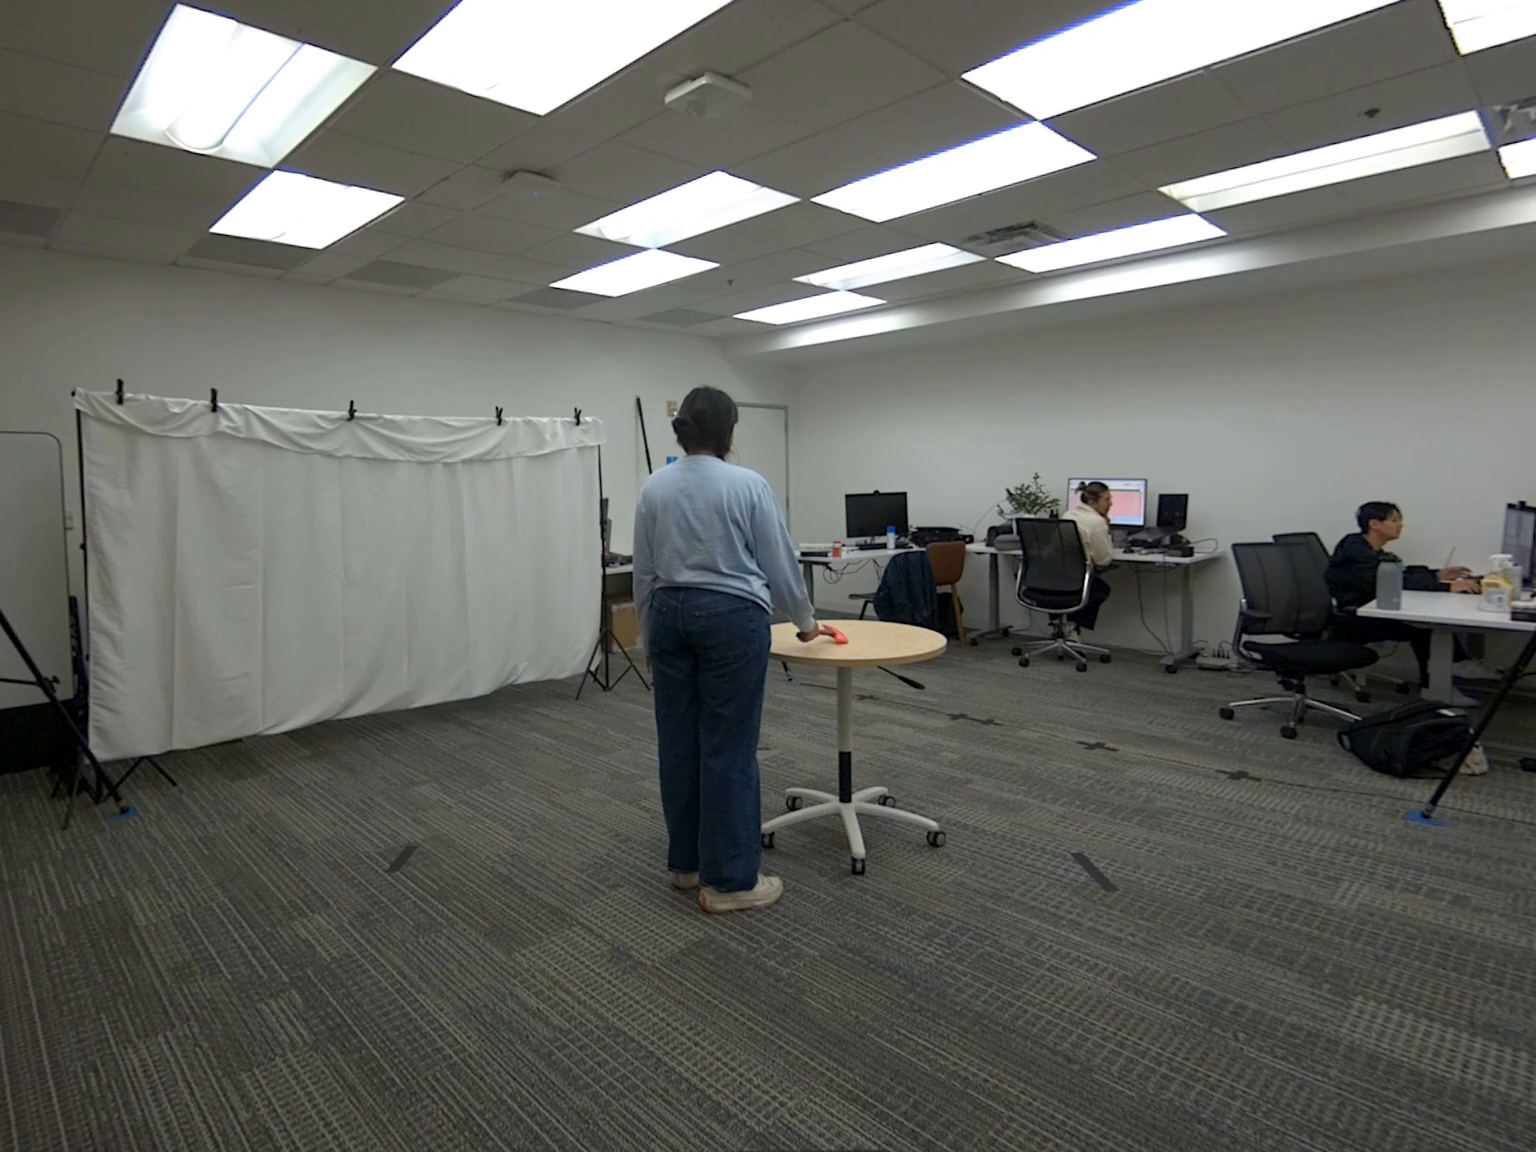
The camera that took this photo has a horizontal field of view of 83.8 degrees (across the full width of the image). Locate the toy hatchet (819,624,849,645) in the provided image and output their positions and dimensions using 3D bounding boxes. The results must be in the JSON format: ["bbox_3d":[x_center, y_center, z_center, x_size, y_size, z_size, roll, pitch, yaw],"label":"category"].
[{"bbox_3d":[0.204,0.223,3.120,0.135,0.029,0.265,28,18,22],"label":"toy hatchet"}]
